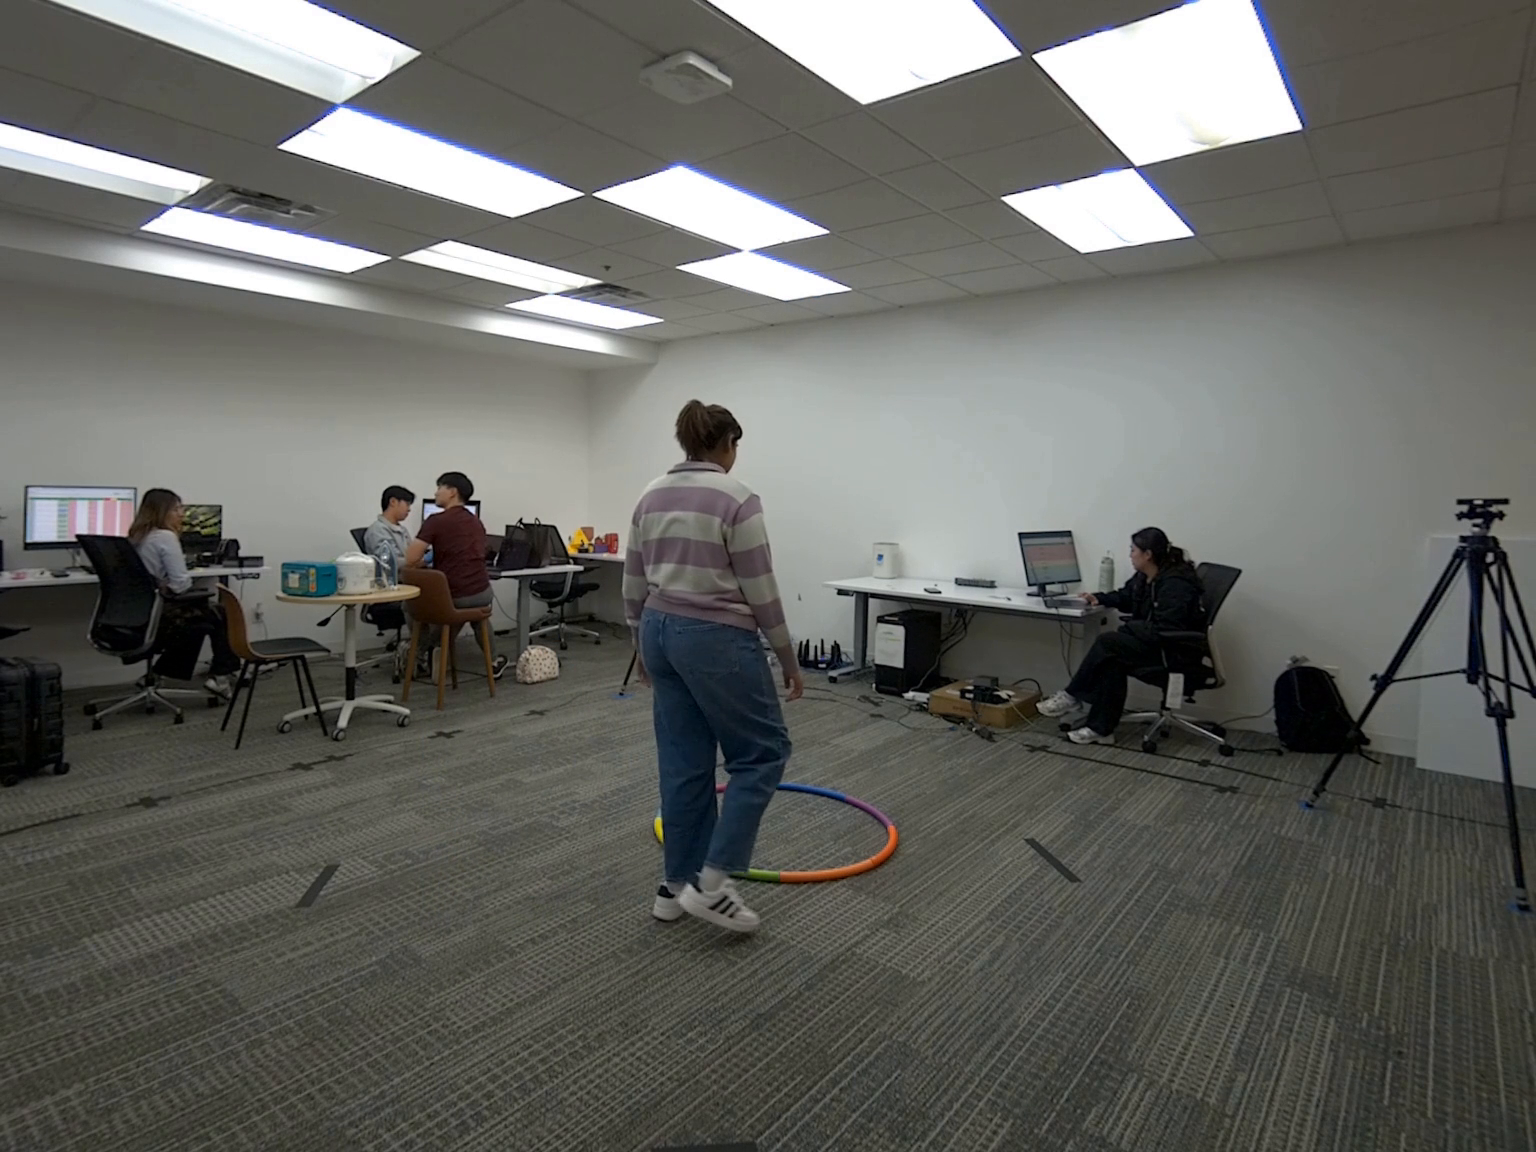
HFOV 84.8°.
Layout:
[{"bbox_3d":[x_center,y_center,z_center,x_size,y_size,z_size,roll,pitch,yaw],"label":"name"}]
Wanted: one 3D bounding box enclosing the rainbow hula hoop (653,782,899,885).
[{"bbox_3d":[0.017,1.006,3.488,0.978,0.035,0.984,1,6,-2],"label":"rainbow hula hoop"}]
